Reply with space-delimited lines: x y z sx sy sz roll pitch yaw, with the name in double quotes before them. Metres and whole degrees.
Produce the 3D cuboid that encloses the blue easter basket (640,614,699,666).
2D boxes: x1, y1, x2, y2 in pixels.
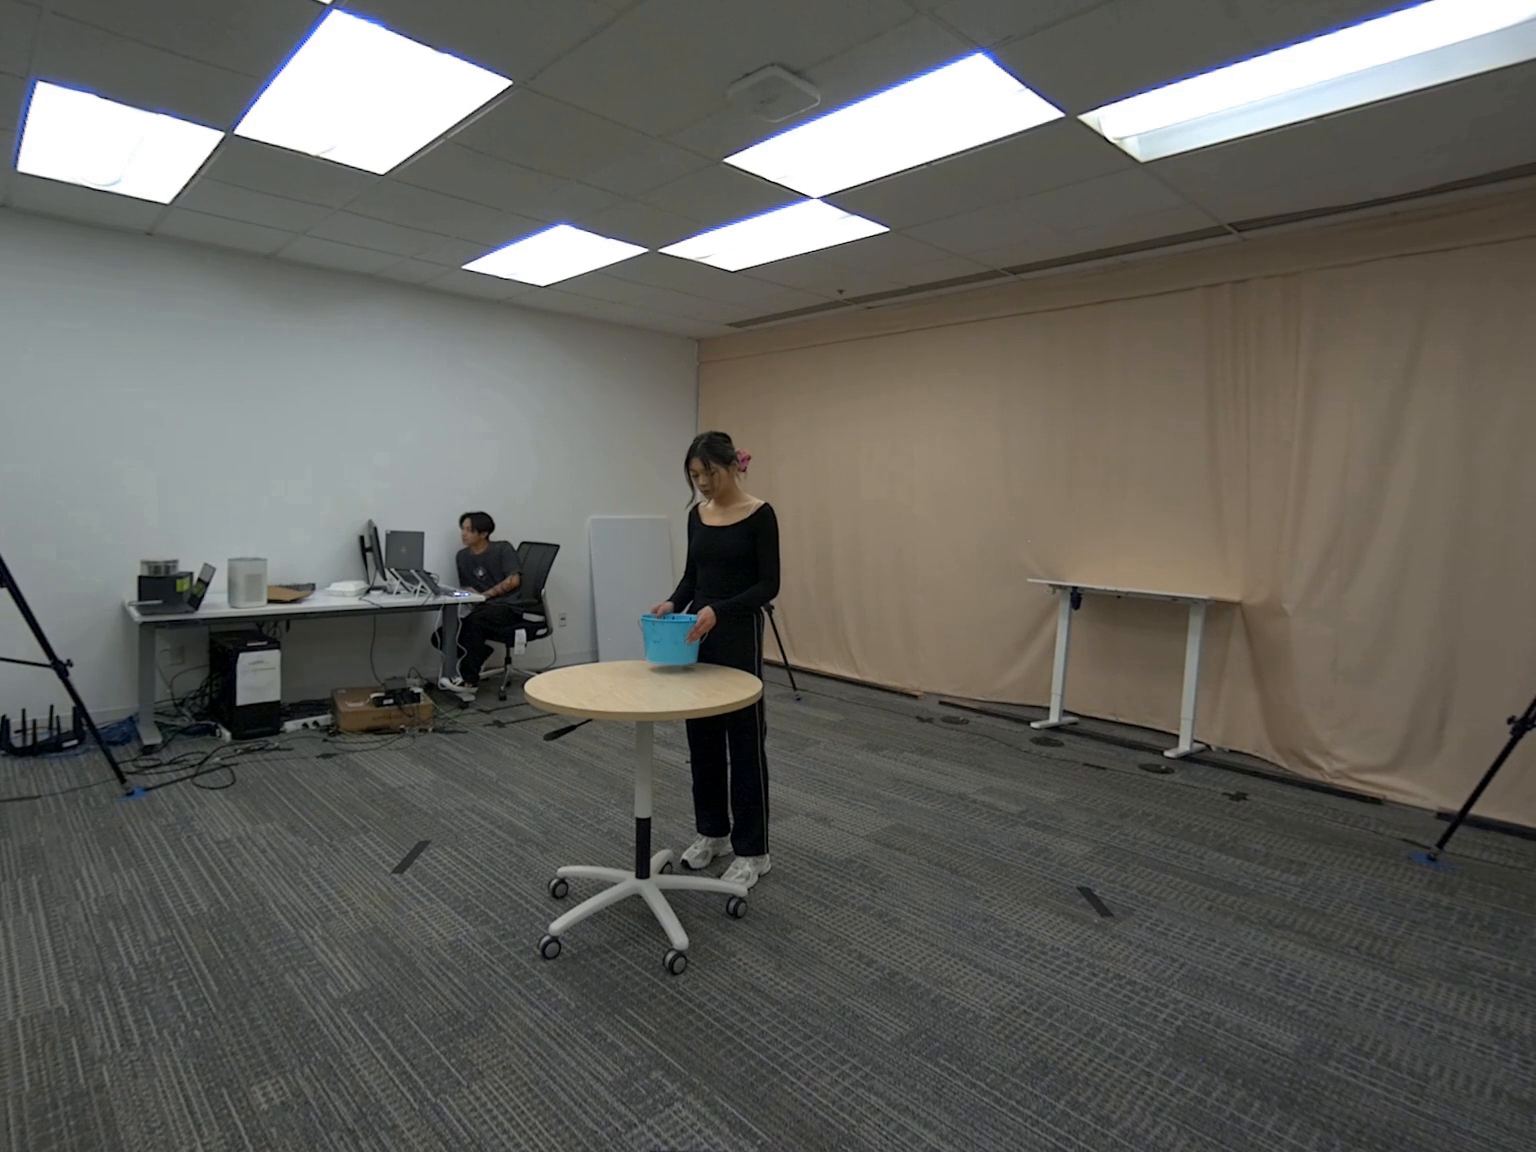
"blue easter basket" -0.343 0.224 2.963 0.243 0.155 0.244 3 3 -1
